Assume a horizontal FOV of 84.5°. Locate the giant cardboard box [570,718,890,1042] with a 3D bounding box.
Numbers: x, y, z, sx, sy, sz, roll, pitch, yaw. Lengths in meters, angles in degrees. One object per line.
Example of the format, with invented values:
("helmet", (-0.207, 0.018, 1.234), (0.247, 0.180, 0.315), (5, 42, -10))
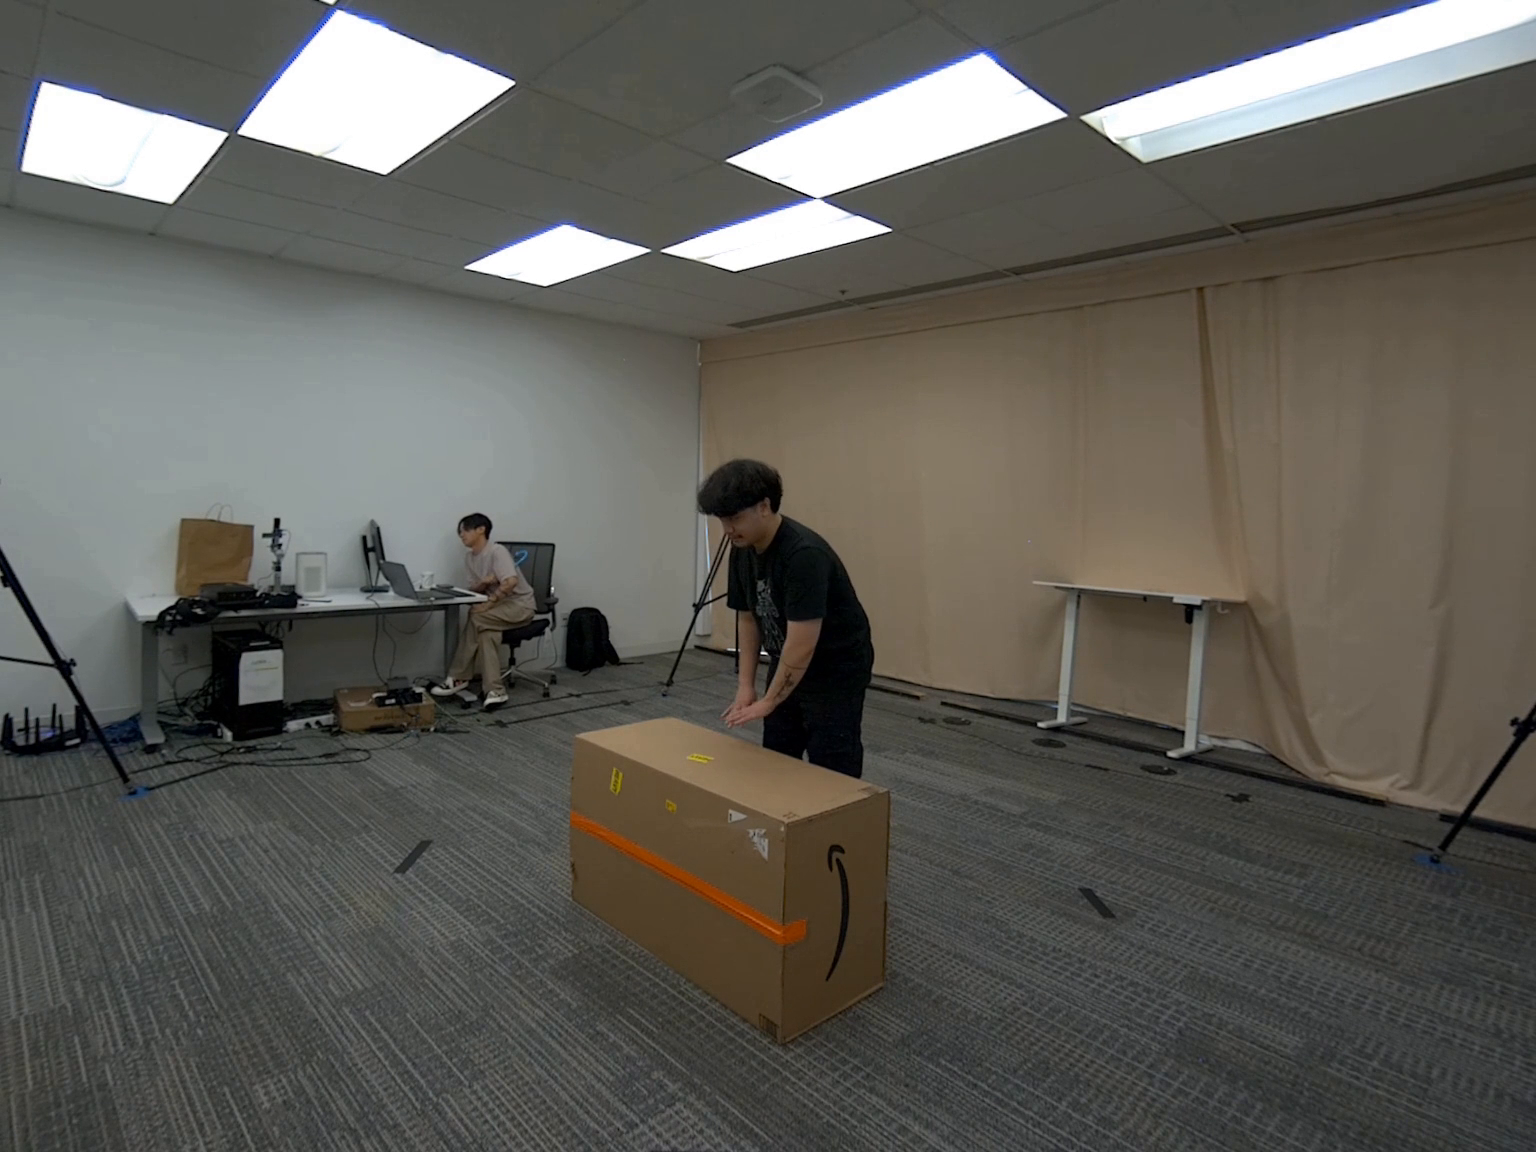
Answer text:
("giant cardboard box", (-0.172, 0.865, 2.641), (0.437, 0.582, 1.053), (-3, 6, -43))
